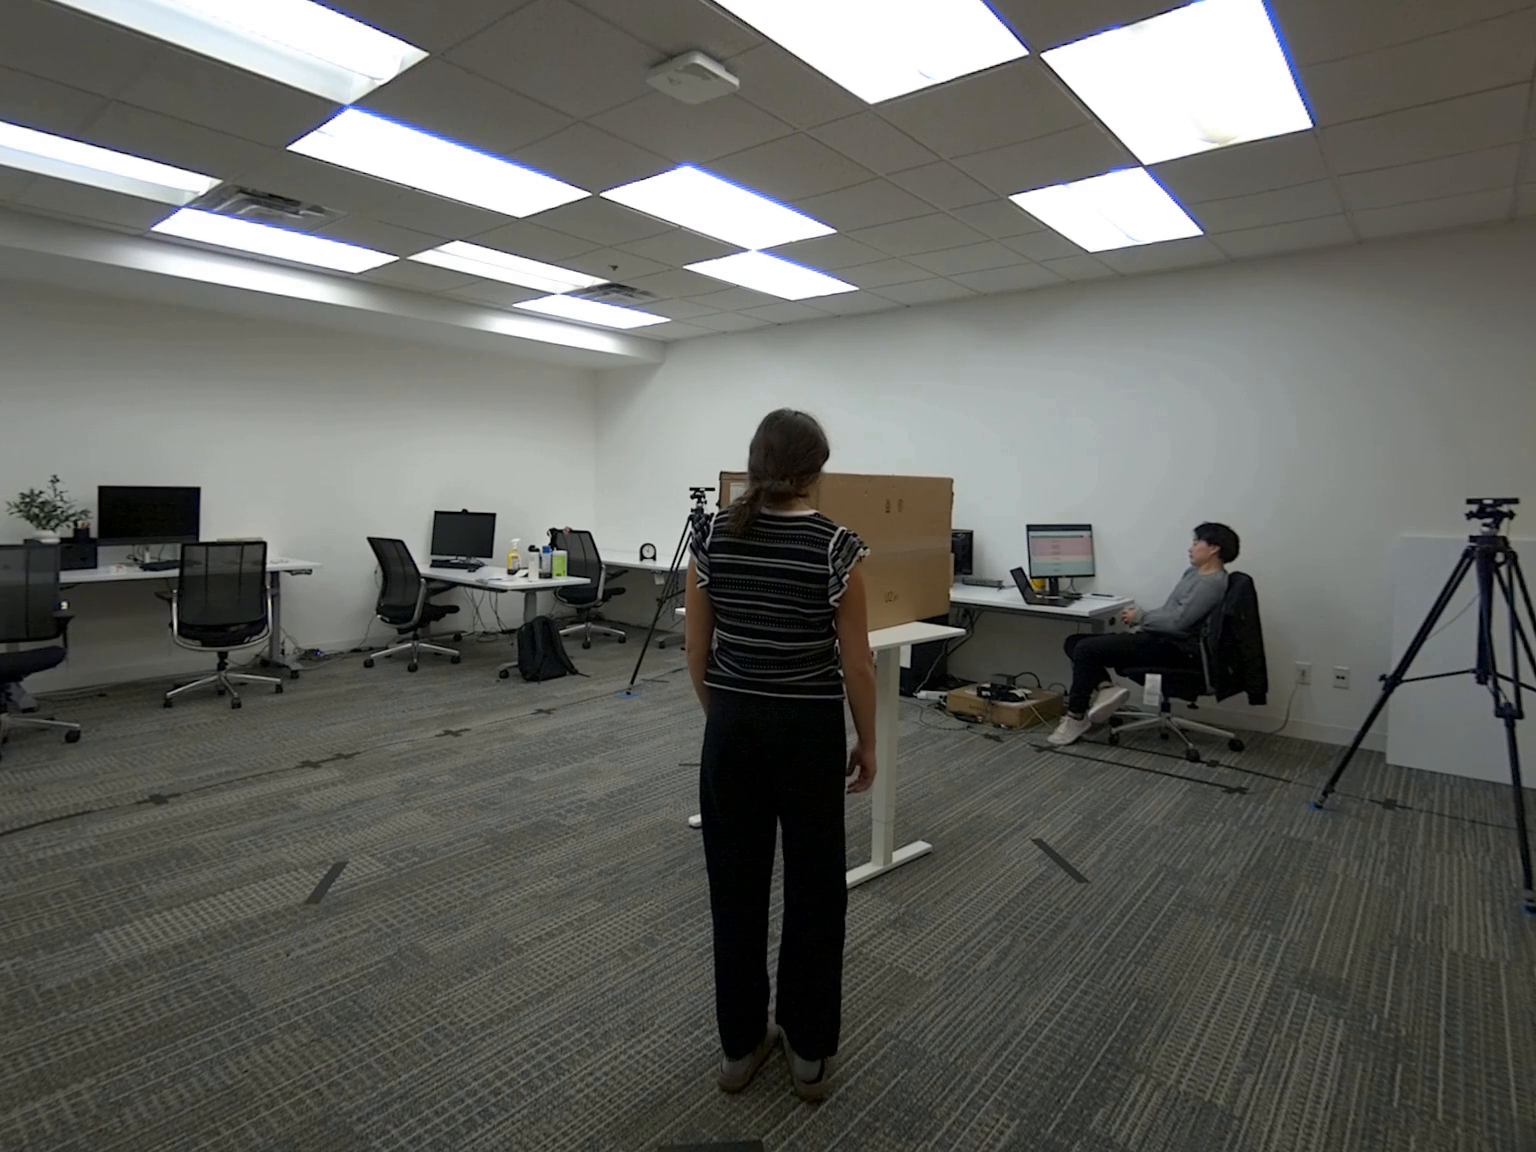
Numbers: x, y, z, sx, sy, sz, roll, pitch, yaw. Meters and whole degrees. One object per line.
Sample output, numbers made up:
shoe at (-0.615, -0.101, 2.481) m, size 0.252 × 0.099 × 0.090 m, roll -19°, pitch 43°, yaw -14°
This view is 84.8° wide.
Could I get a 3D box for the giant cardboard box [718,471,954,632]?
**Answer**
giant cardboard box at (0.280, -0.114, 3.315) m, size 0.440 × 0.575 × 0.996 m, roll 4°, pitch 6°, yaw 39°
